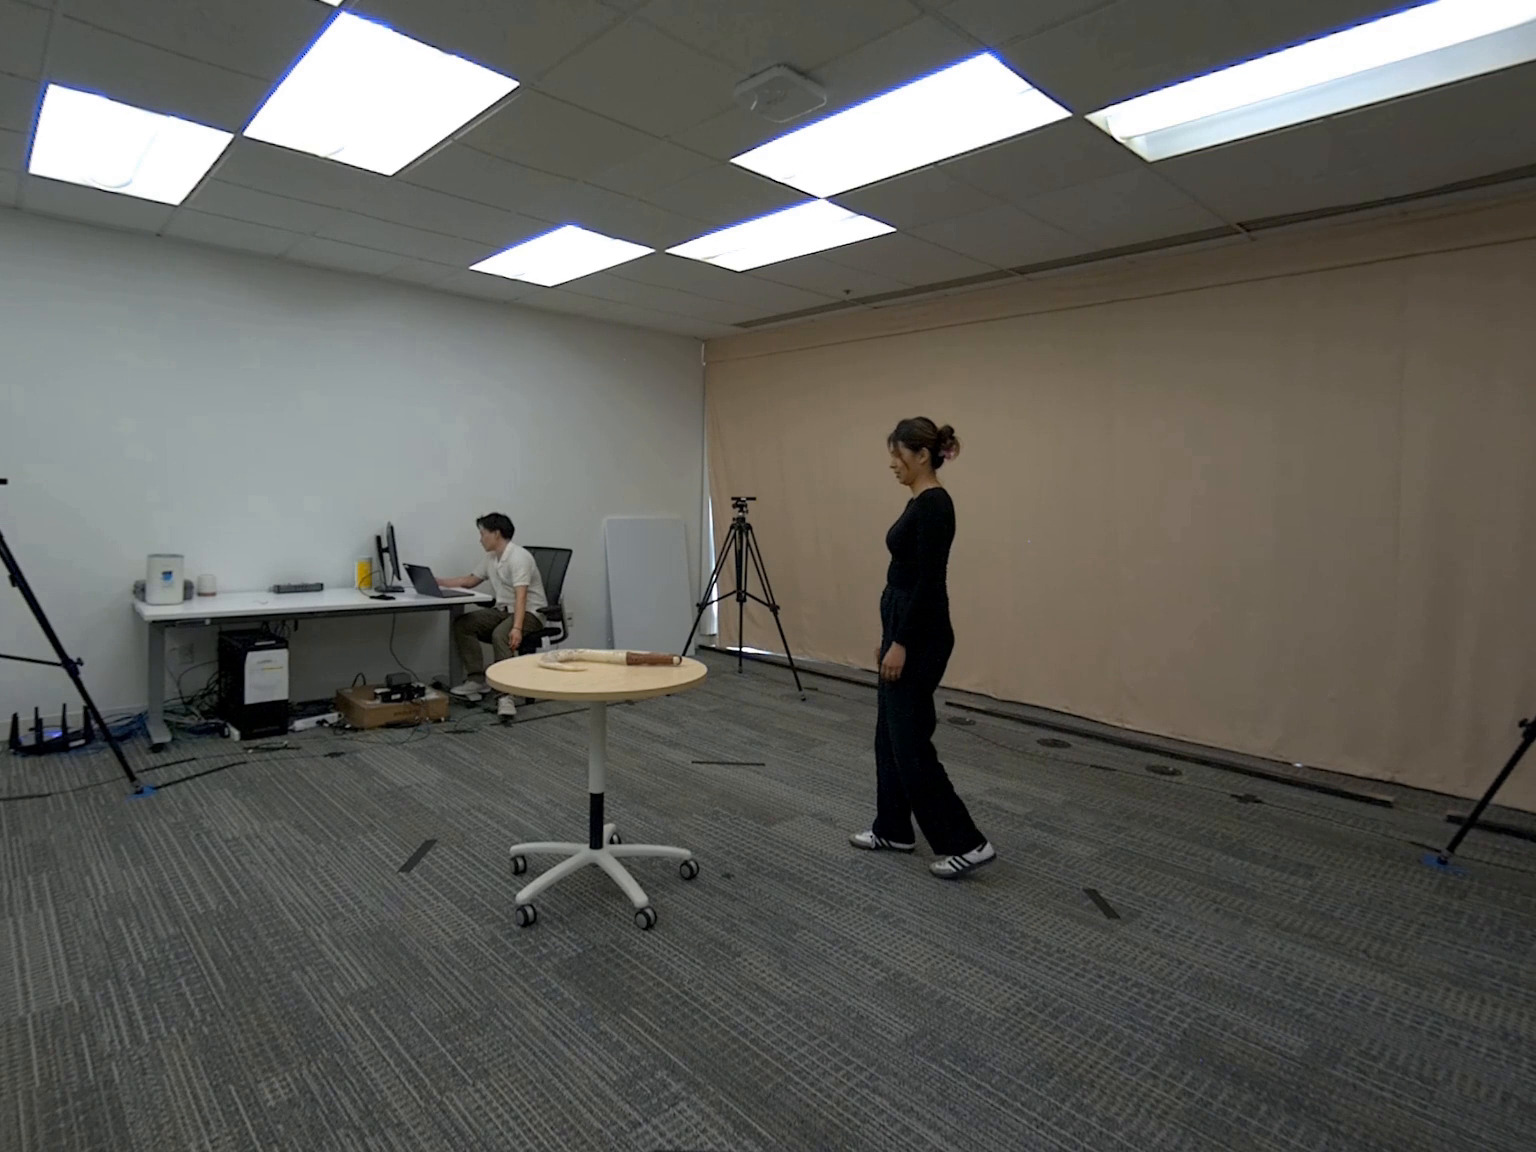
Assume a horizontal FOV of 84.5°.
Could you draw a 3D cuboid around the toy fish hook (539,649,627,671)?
[{"bbox_3d":[-0.572,0.312,2.997,0.508,0.048,0.225,0,12,4],"label":"toy fish hook"}]
